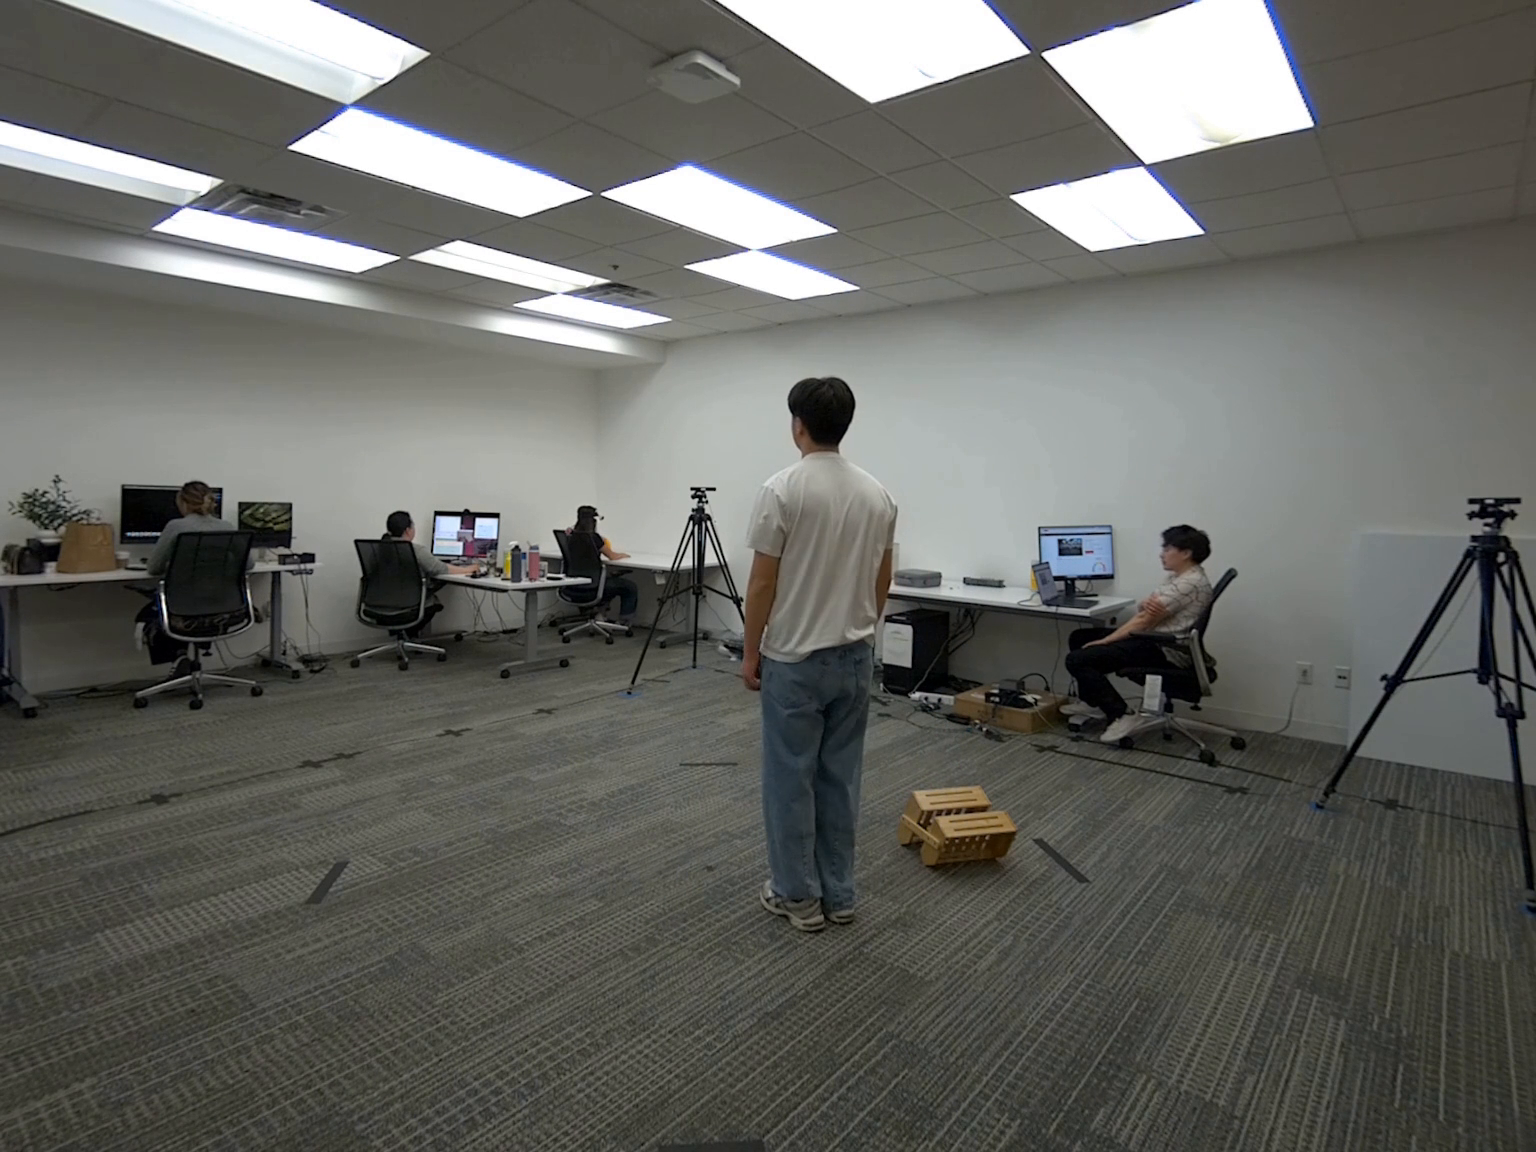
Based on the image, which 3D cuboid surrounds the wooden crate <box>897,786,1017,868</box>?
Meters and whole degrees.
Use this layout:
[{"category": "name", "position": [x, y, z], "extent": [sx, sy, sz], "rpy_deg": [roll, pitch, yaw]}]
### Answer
[{"category": "wooden crate", "position": [0.708, 0.982, 3.260], "extent": [0.319, 0.296, 0.284], "rpy_deg": [0, 32, -18]}]
